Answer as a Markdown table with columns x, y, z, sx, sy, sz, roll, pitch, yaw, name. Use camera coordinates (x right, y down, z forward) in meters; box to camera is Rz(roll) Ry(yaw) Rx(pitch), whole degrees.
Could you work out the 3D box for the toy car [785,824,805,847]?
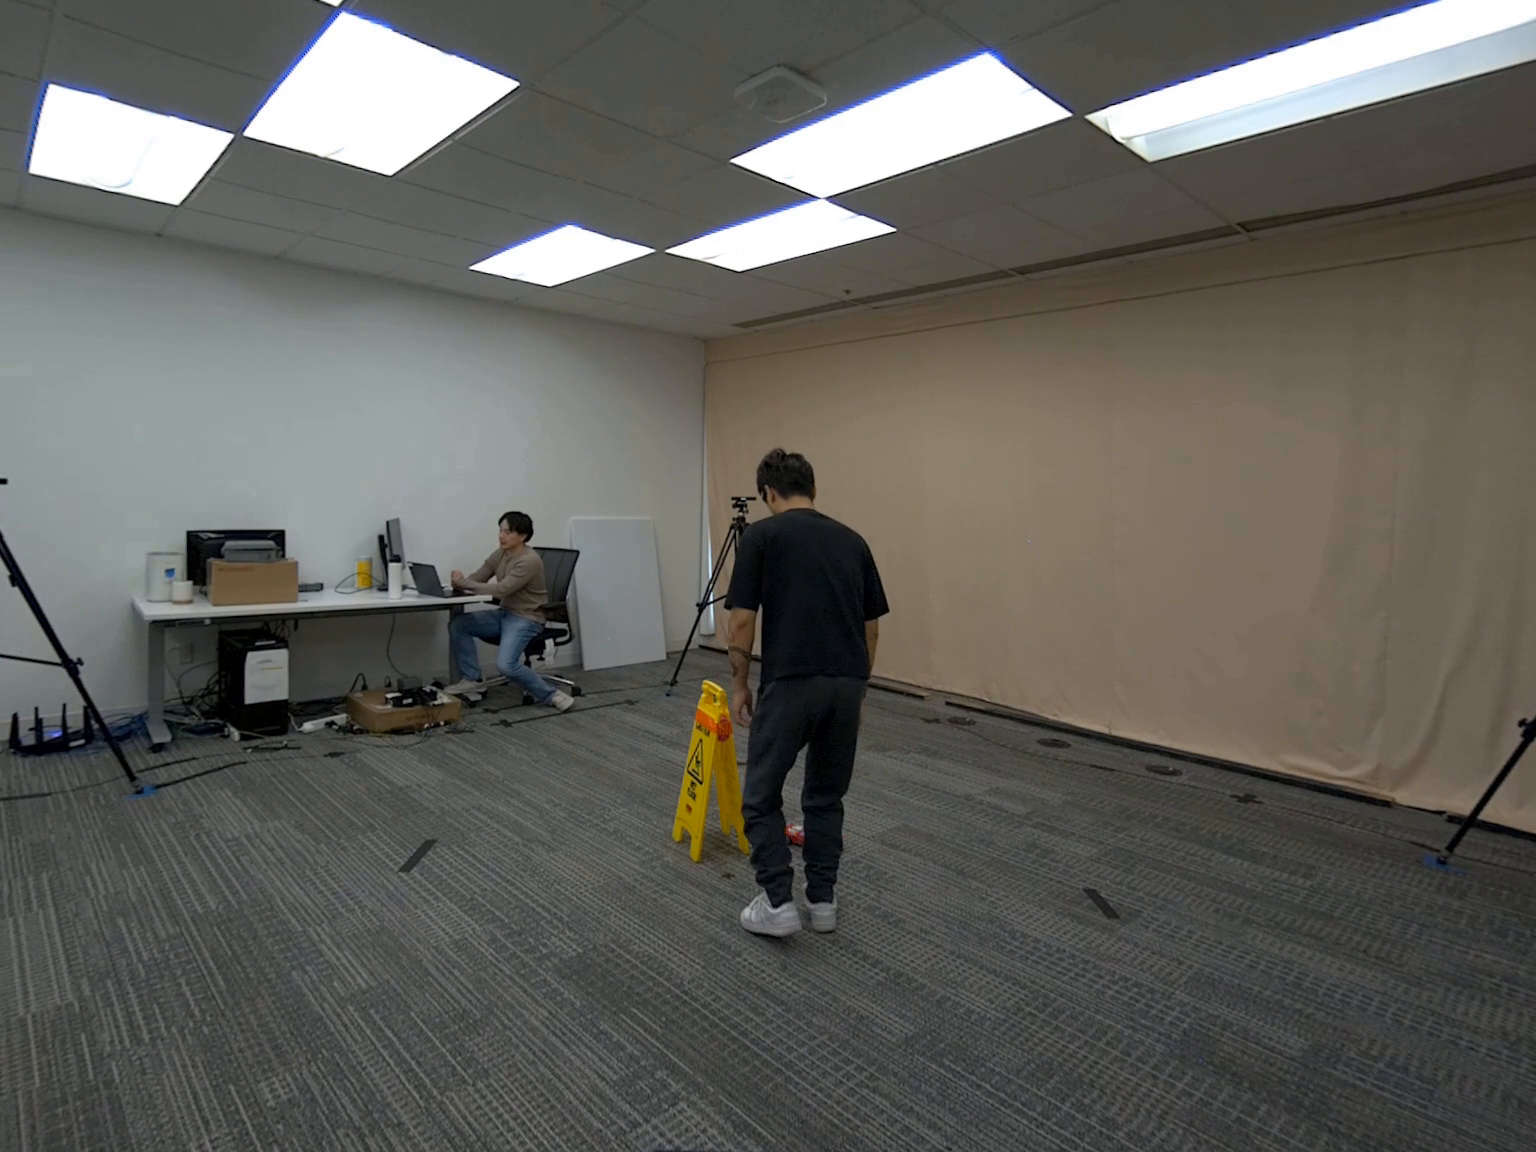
| x | y | z | sx | sy | sz | roll | pitch | yaw | name |
| --- | --- | --- | --- | --- | --- | --- | --- | --- | --- |
| 0.172 | 1.061 | 3.398 | 0.259 | 0.083 | 0.127 | -8 | -4 | 30 | toy car |
